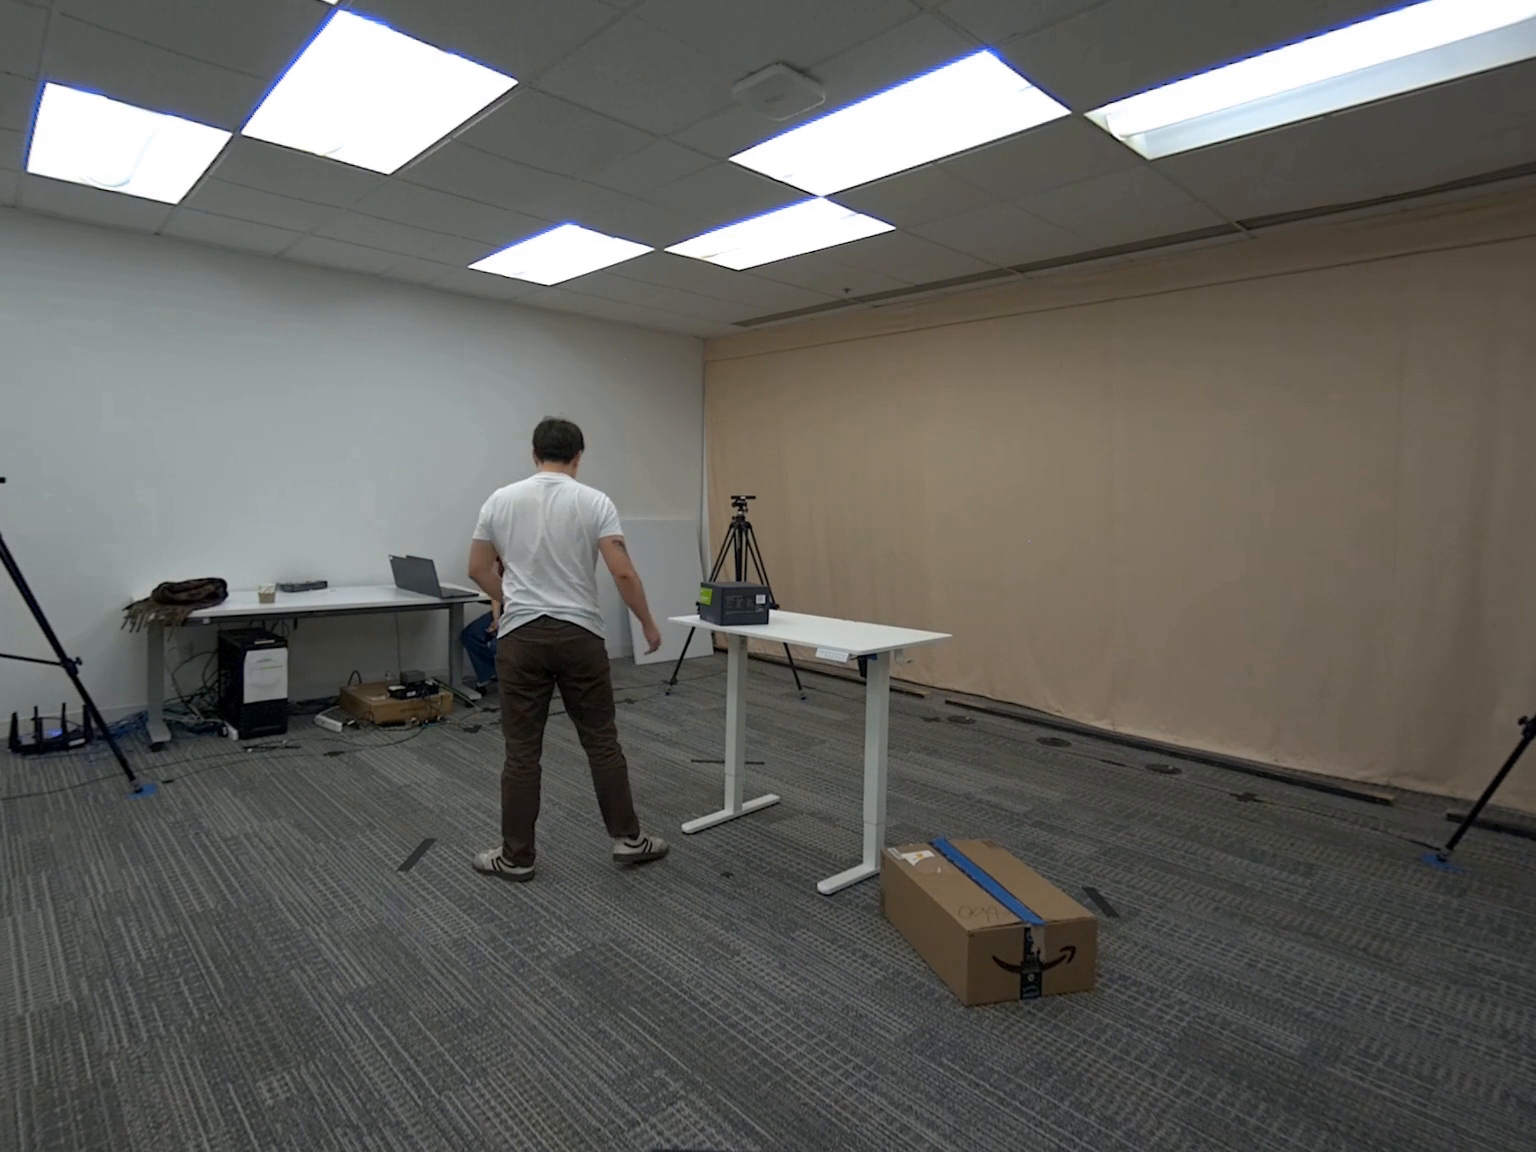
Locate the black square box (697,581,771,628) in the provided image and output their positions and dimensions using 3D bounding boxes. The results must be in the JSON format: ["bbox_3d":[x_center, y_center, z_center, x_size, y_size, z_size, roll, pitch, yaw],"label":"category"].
[{"bbox_3d":[-0.144,0.111,3.458,0.213,0.155,0.232,-1,4,-26],"label":"black square box"}]
